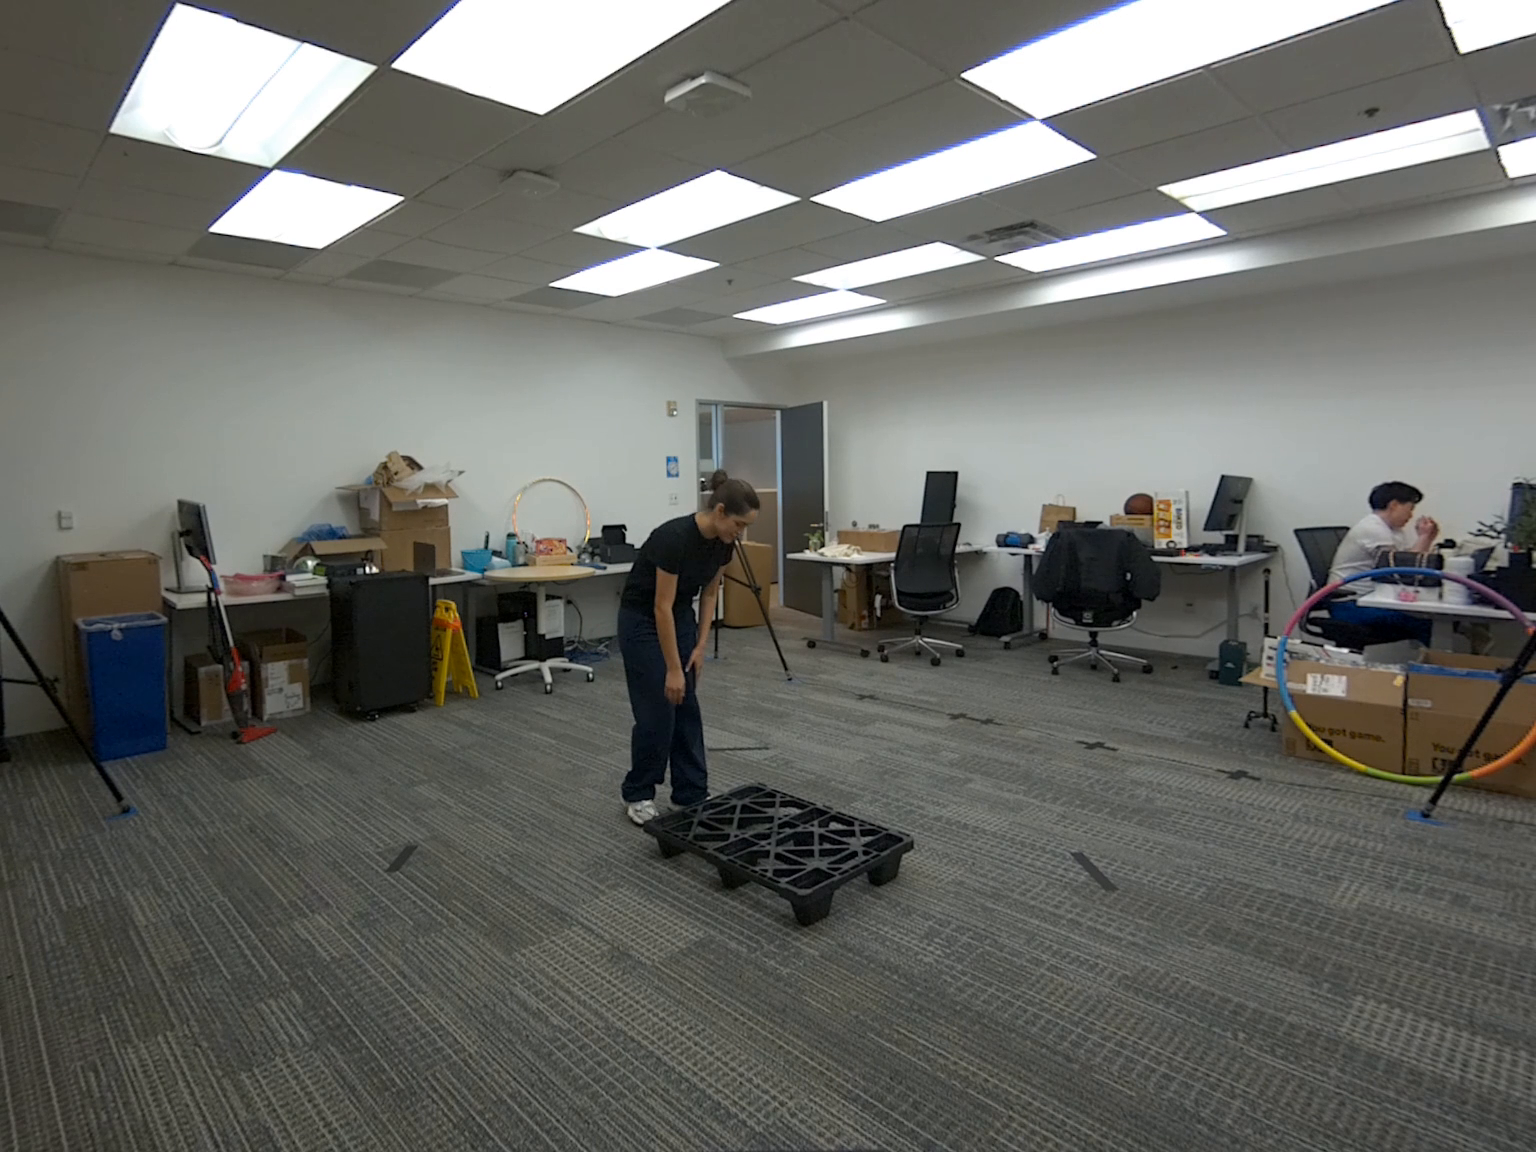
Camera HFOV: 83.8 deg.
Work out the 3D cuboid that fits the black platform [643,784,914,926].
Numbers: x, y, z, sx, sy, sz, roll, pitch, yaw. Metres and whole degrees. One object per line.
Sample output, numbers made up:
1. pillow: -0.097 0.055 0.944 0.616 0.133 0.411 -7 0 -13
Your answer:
1. black platform: 0.025 0.980 3.096 0.589 0.143 0.831 -6 8 -45
